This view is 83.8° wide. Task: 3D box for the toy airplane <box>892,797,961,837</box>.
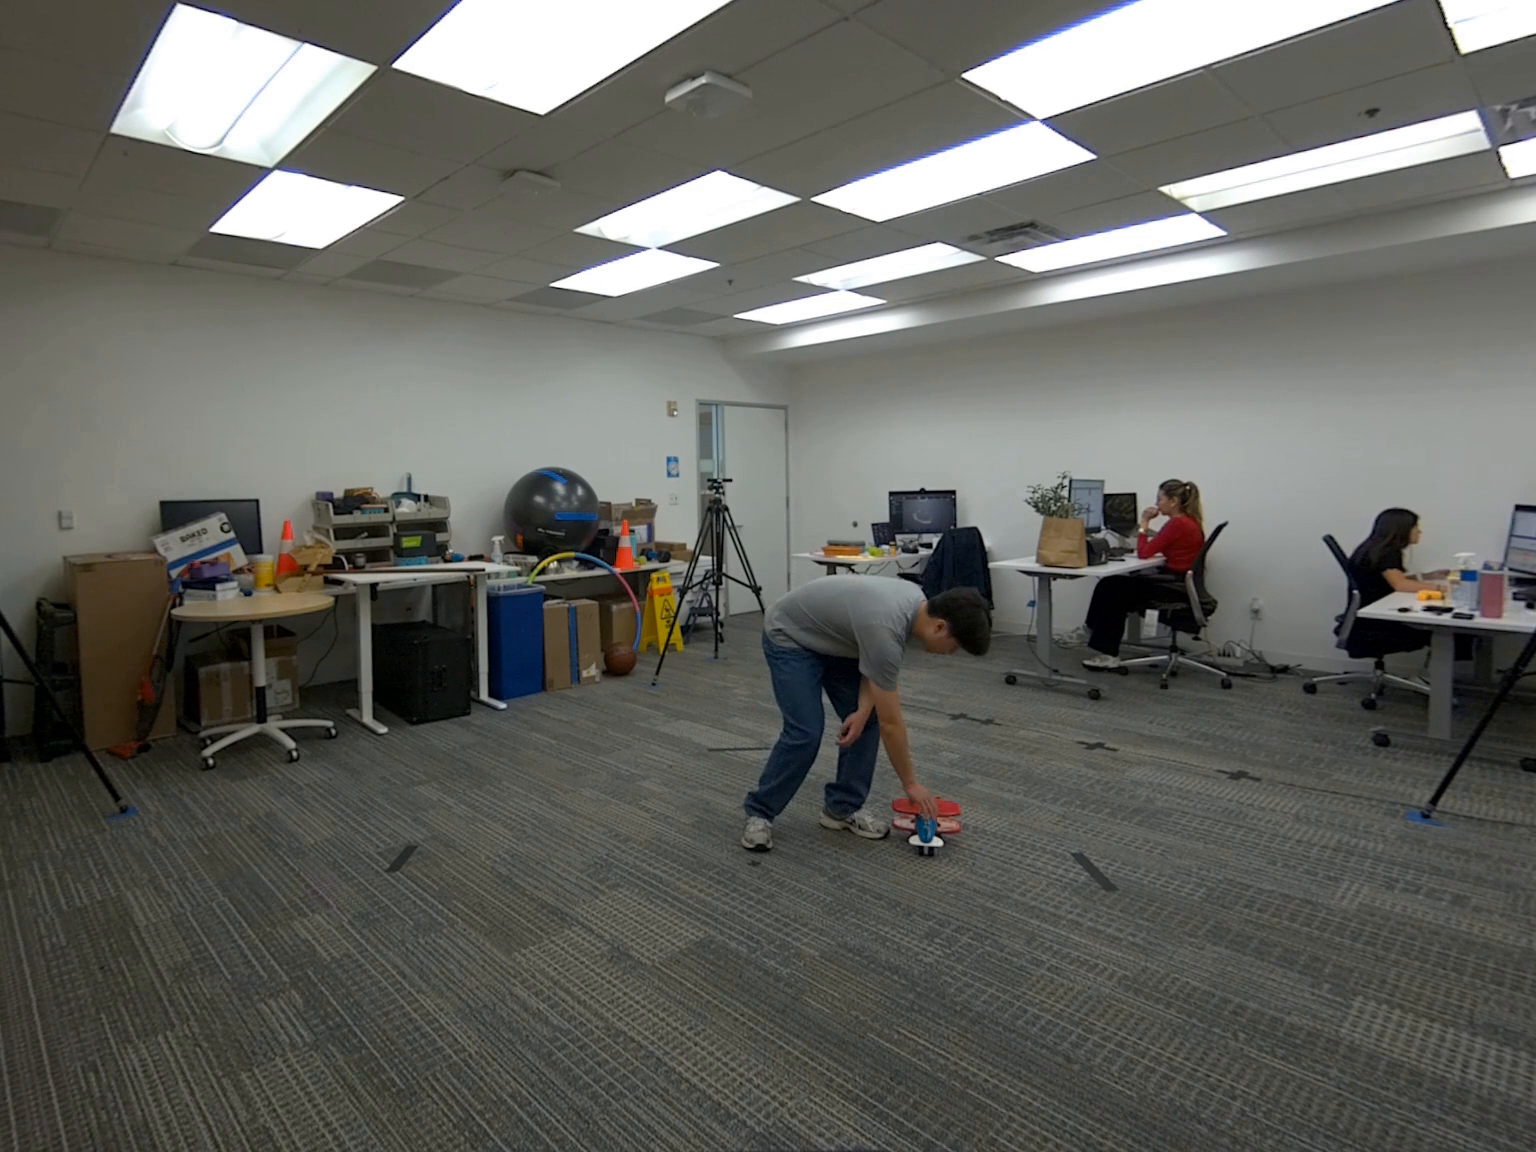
[{"bbox_3d":[0.619,0.943,3.226,0.247,0.156,0.264,-2,4,-16],"label":"toy airplane"}]
